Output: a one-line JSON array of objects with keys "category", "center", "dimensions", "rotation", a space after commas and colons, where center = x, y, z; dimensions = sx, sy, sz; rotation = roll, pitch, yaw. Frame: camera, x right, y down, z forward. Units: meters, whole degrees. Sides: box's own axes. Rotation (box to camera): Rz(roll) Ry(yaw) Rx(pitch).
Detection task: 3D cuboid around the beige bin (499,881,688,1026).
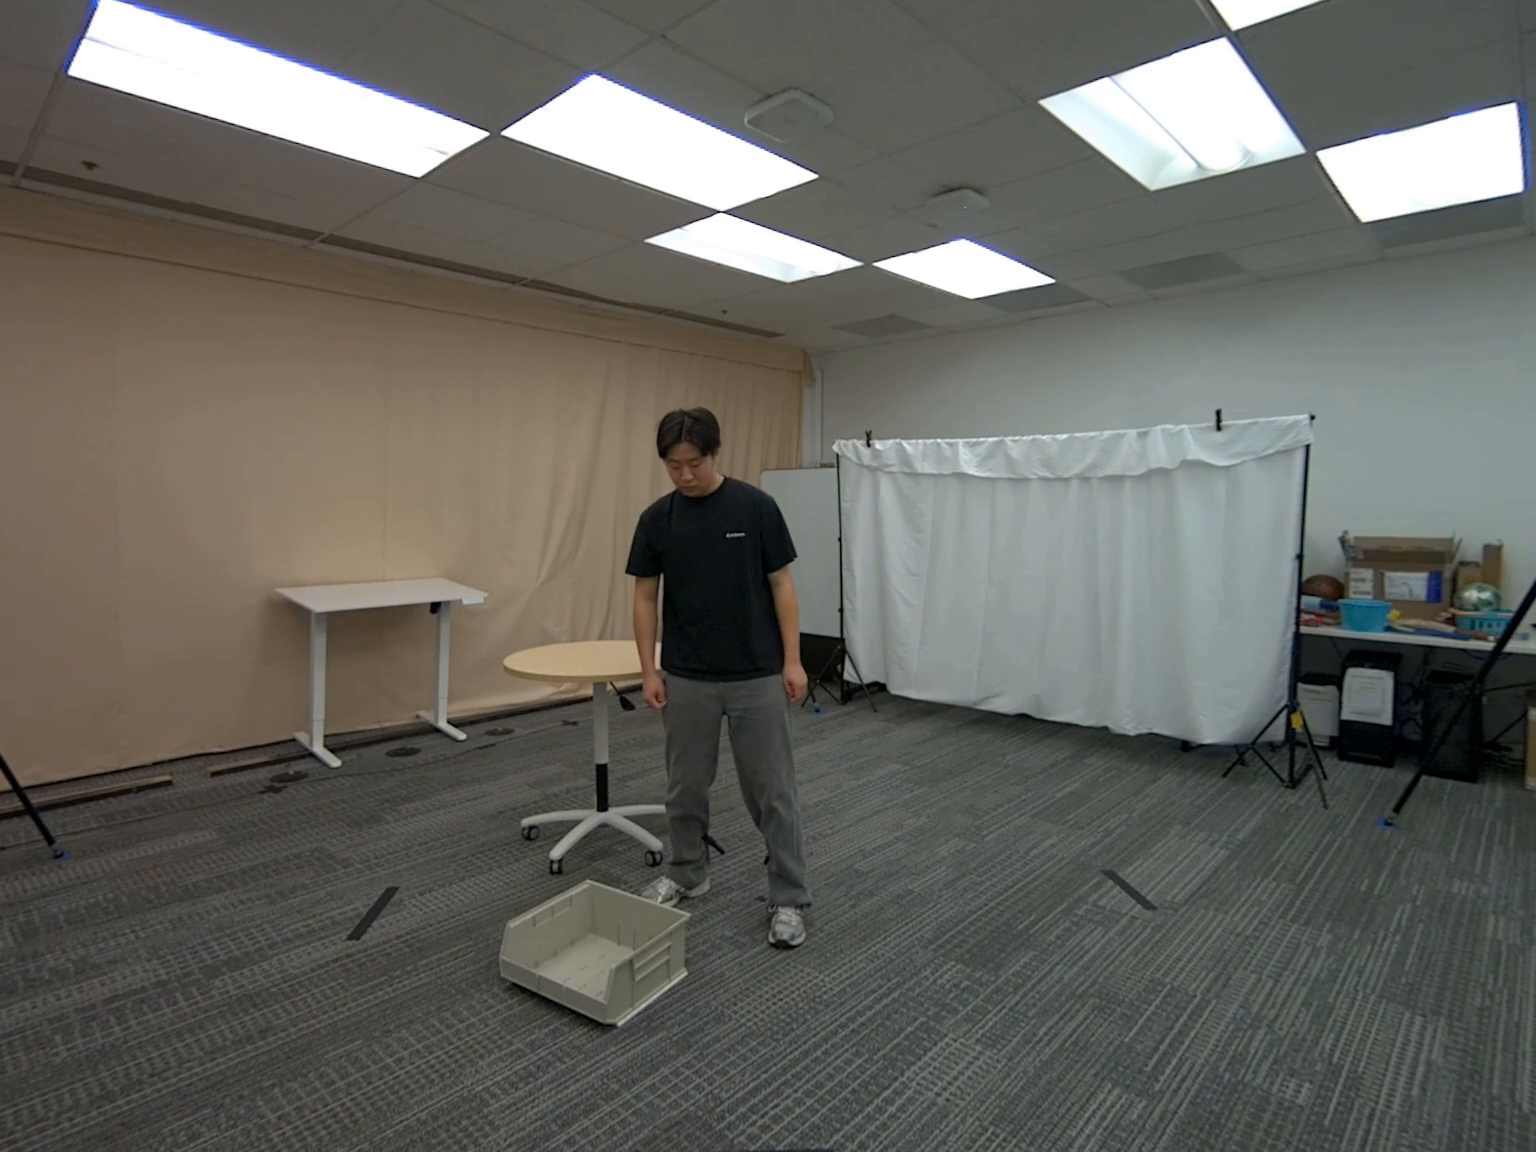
[{"category": "beige bin", "center": [-0.501, 1.097, 2.473], "dimensions": [0.435, 0.188, 0.367], "rotation": [2, 4, 33]}]
